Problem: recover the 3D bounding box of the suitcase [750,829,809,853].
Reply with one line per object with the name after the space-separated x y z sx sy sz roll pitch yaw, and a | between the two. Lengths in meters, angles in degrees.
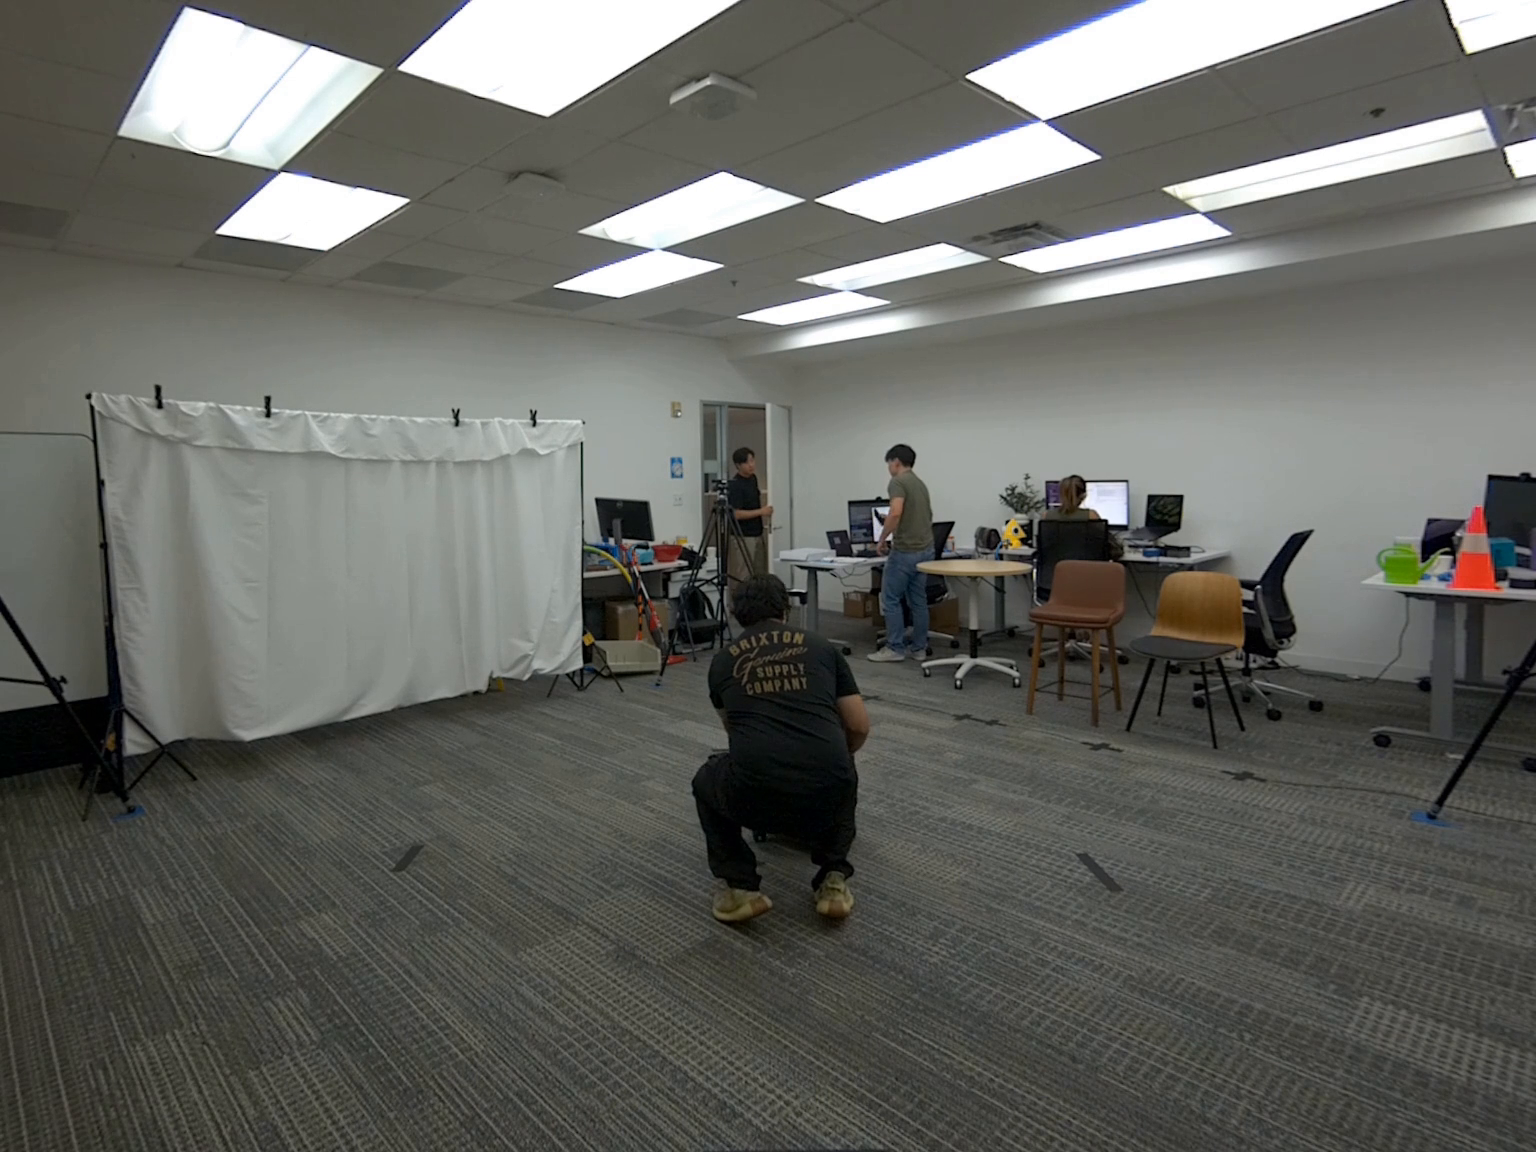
0.145 0.548 3.307 0.395 0.977 0.250 2 2 35 | suitcase
